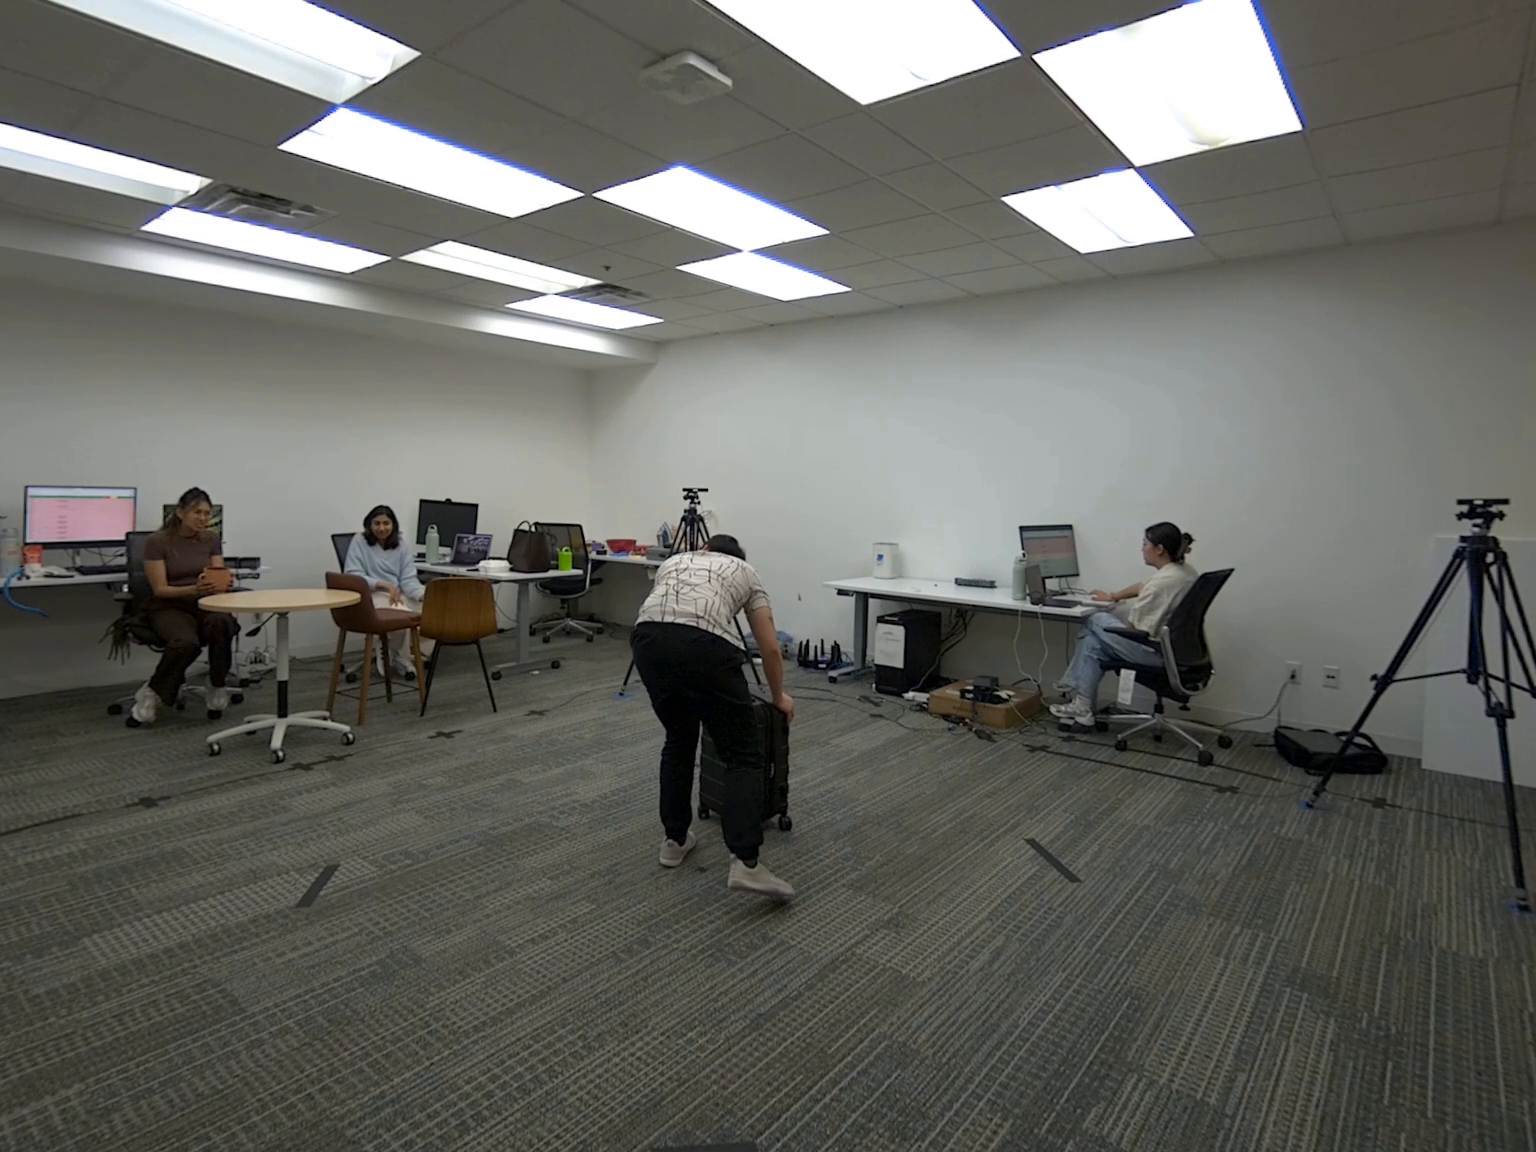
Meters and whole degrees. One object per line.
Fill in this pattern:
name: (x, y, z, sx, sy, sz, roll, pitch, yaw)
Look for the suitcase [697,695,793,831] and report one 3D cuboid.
suitcase: (-0.113, 0.752, 3.568, 0.241, 0.549, 0.387, -1, 2, -37)
